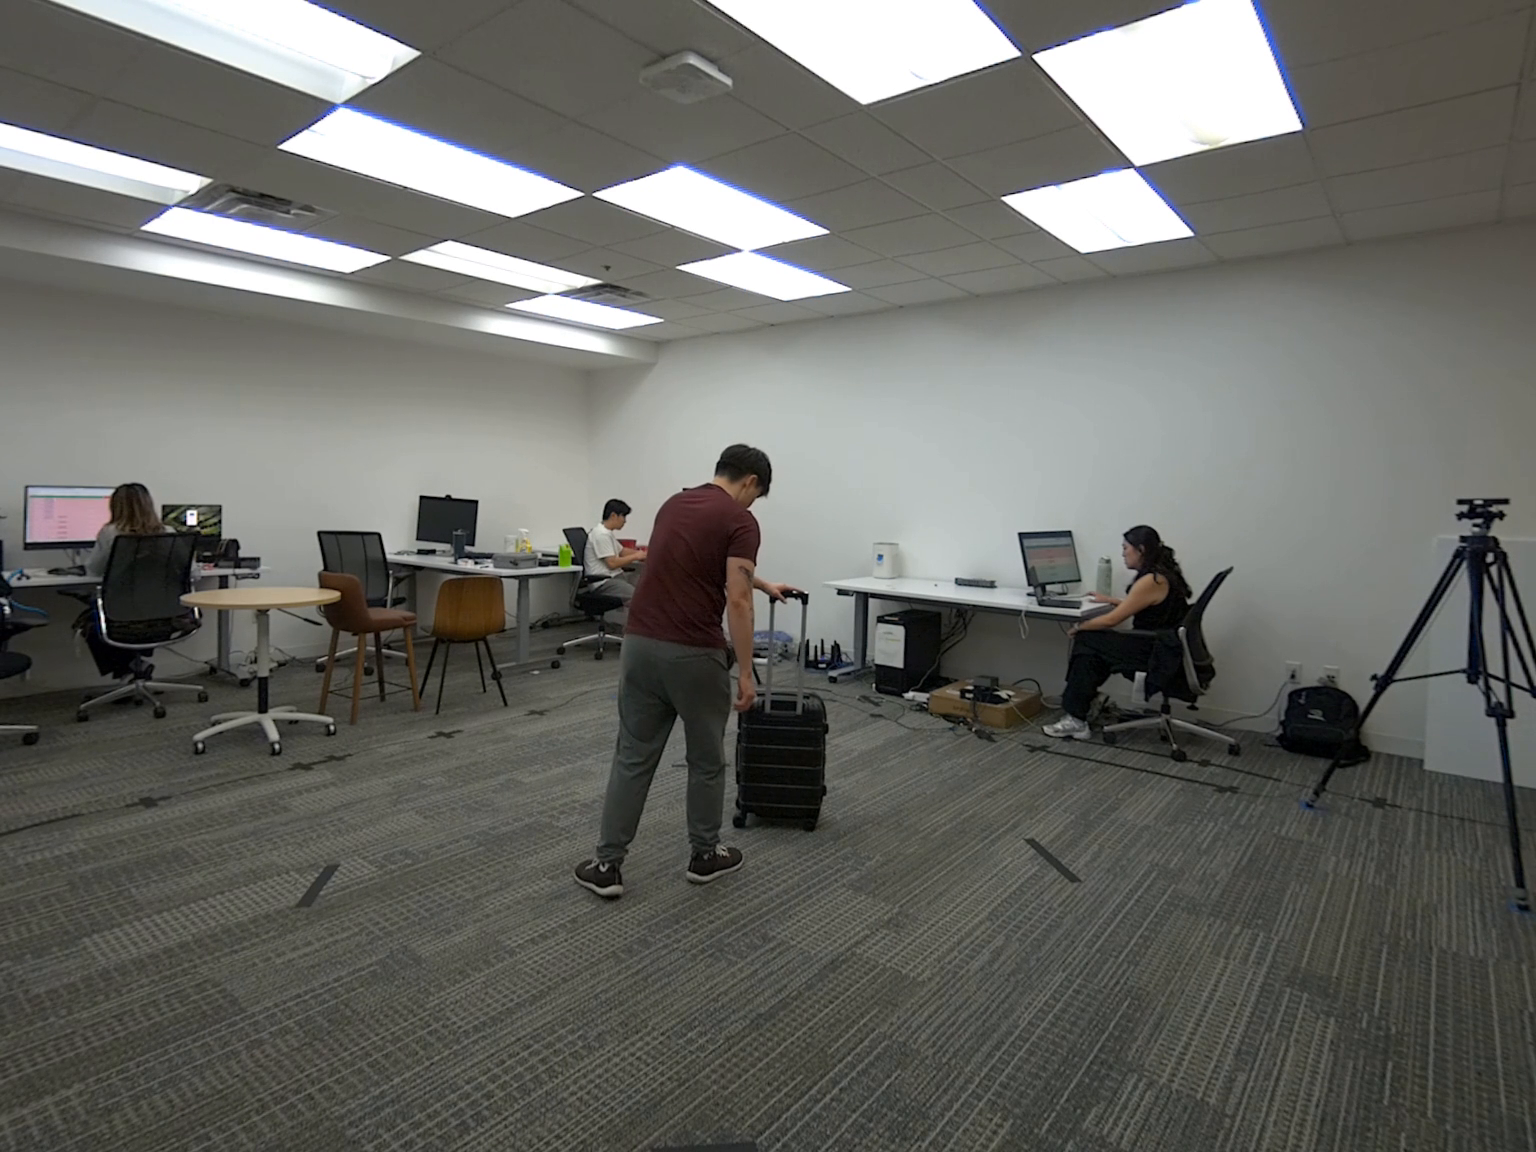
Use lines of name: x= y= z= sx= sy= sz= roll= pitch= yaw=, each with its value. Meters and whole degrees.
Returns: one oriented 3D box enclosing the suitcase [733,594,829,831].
suitcase: x=0.054 y=0.550 z=3.583 sx=0.385 sy=0.976 sz=0.257 roll=3 pitch=2 yaw=2
